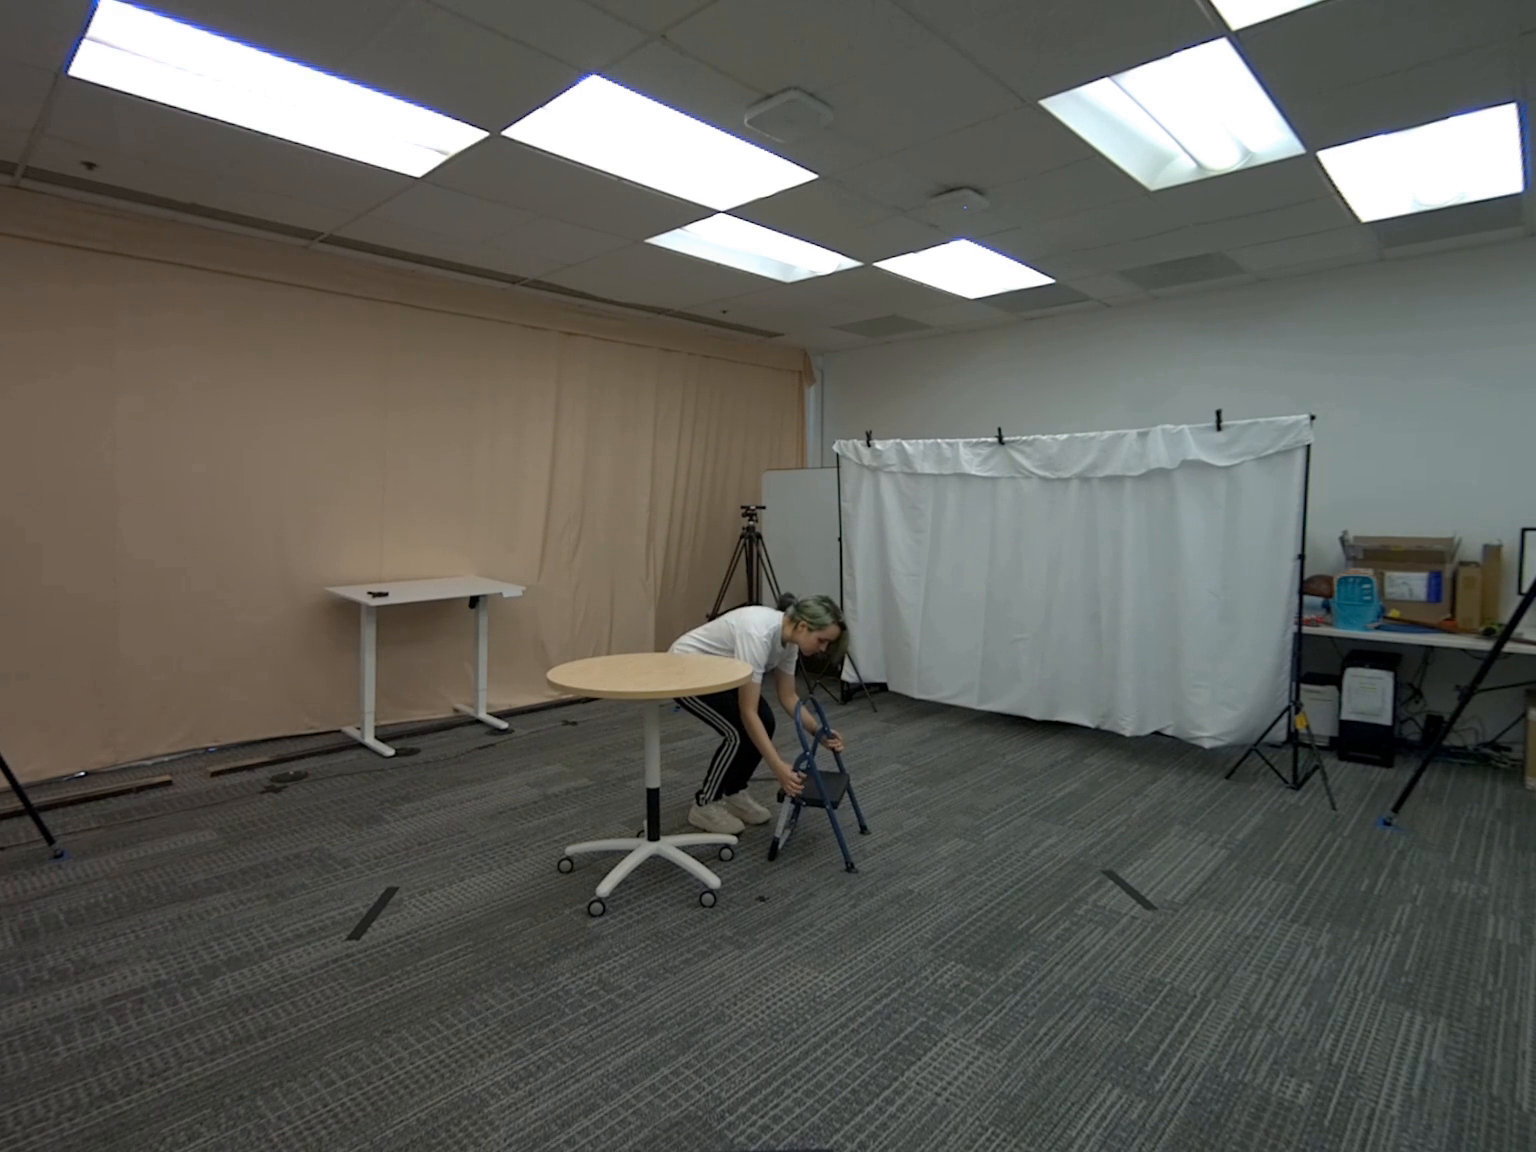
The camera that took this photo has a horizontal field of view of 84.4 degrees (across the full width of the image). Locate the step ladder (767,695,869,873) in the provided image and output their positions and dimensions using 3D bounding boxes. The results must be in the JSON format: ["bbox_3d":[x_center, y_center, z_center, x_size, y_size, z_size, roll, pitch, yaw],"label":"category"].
[{"bbox_3d":[0.217,0.804,3.421,0.355,0.605,0.424,2,4,15],"label":"step ladder"}]
